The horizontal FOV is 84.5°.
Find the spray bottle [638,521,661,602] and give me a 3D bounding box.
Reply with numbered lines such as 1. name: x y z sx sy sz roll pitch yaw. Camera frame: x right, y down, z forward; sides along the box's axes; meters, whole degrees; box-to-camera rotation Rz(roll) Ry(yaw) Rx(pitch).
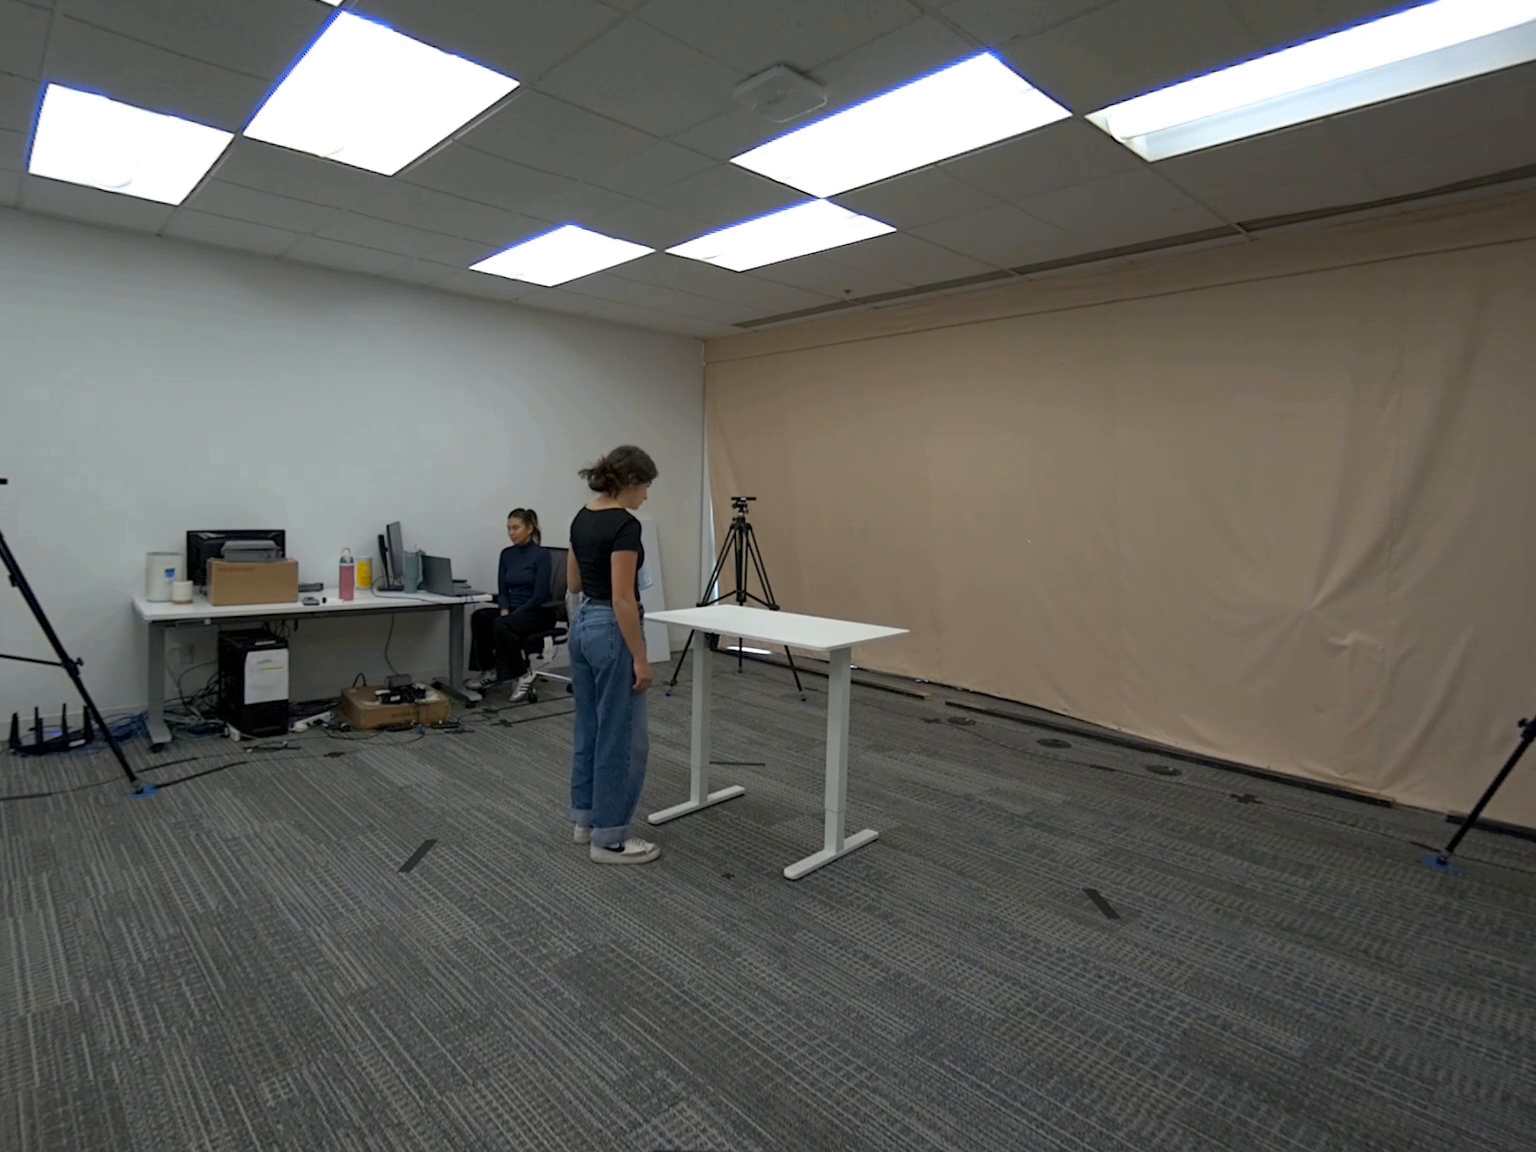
1. spray bottle: -0.563 -0.083 3.548 0.089 0.293 0.089 4 23 42
